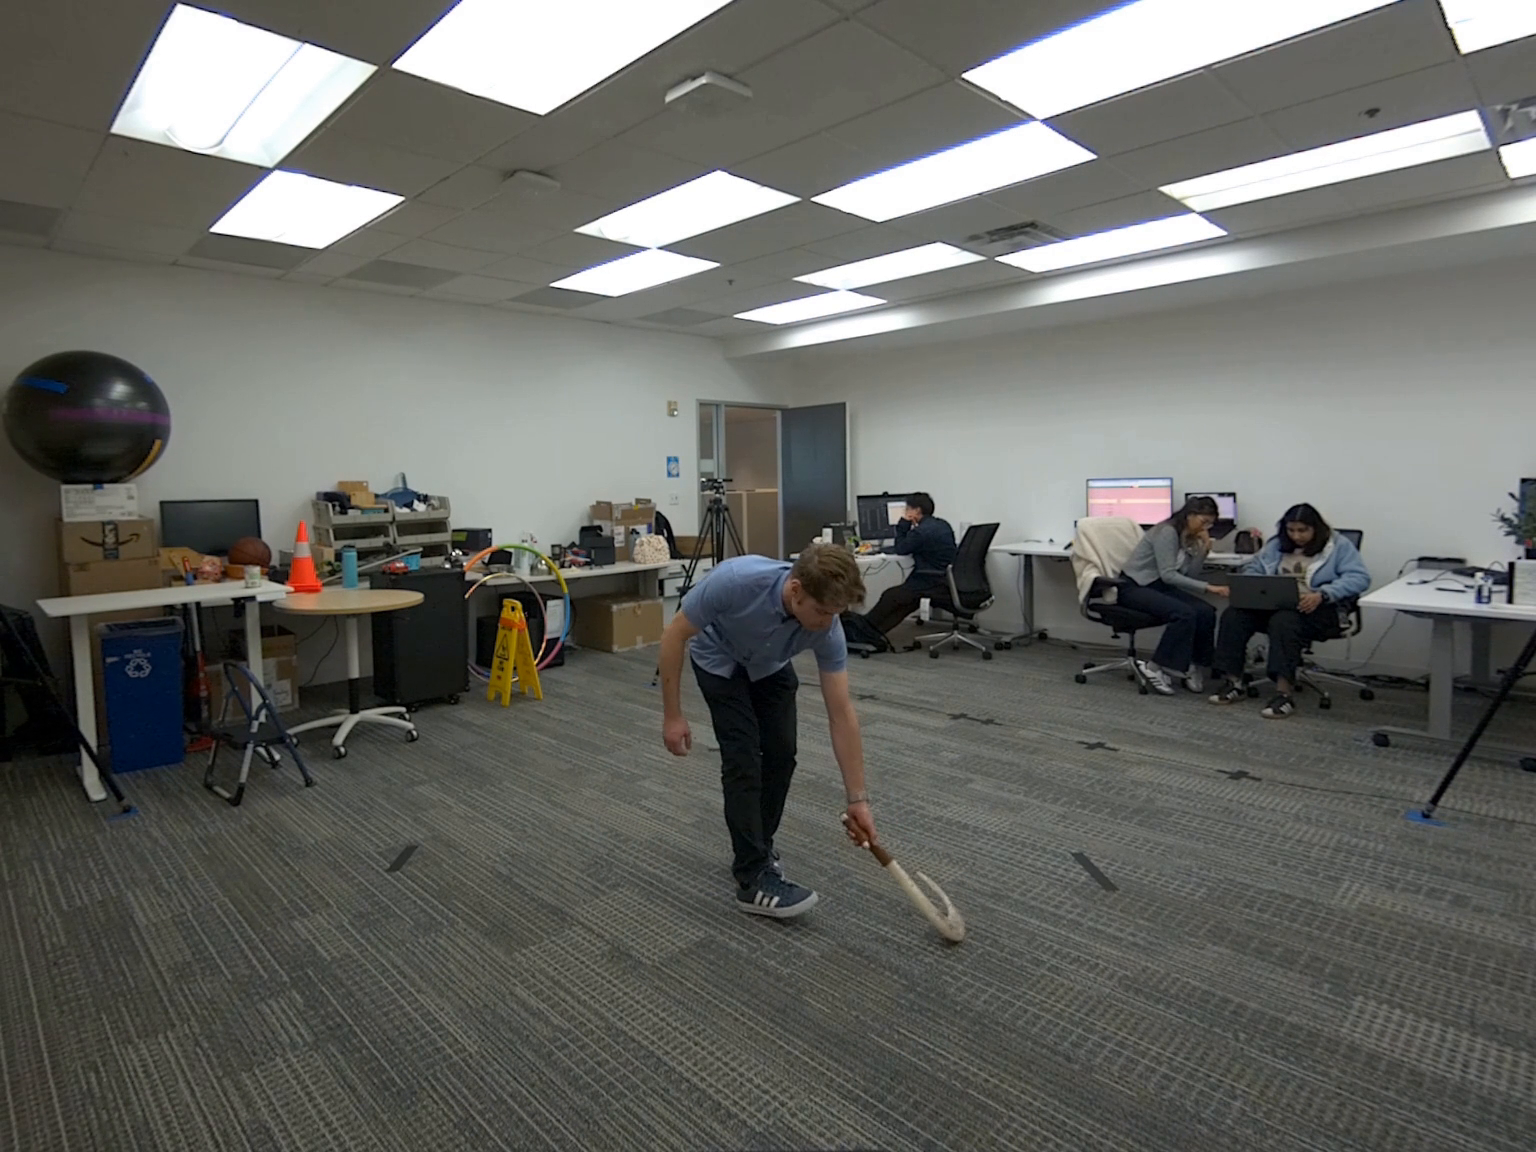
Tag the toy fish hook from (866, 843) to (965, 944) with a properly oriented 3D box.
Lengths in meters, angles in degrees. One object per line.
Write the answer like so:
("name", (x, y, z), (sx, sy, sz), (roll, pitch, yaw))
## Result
("toy fish hook", (0.409, 0.908, 2.655), (0.513, 0.048, 0.222), (45, 8, 8))
